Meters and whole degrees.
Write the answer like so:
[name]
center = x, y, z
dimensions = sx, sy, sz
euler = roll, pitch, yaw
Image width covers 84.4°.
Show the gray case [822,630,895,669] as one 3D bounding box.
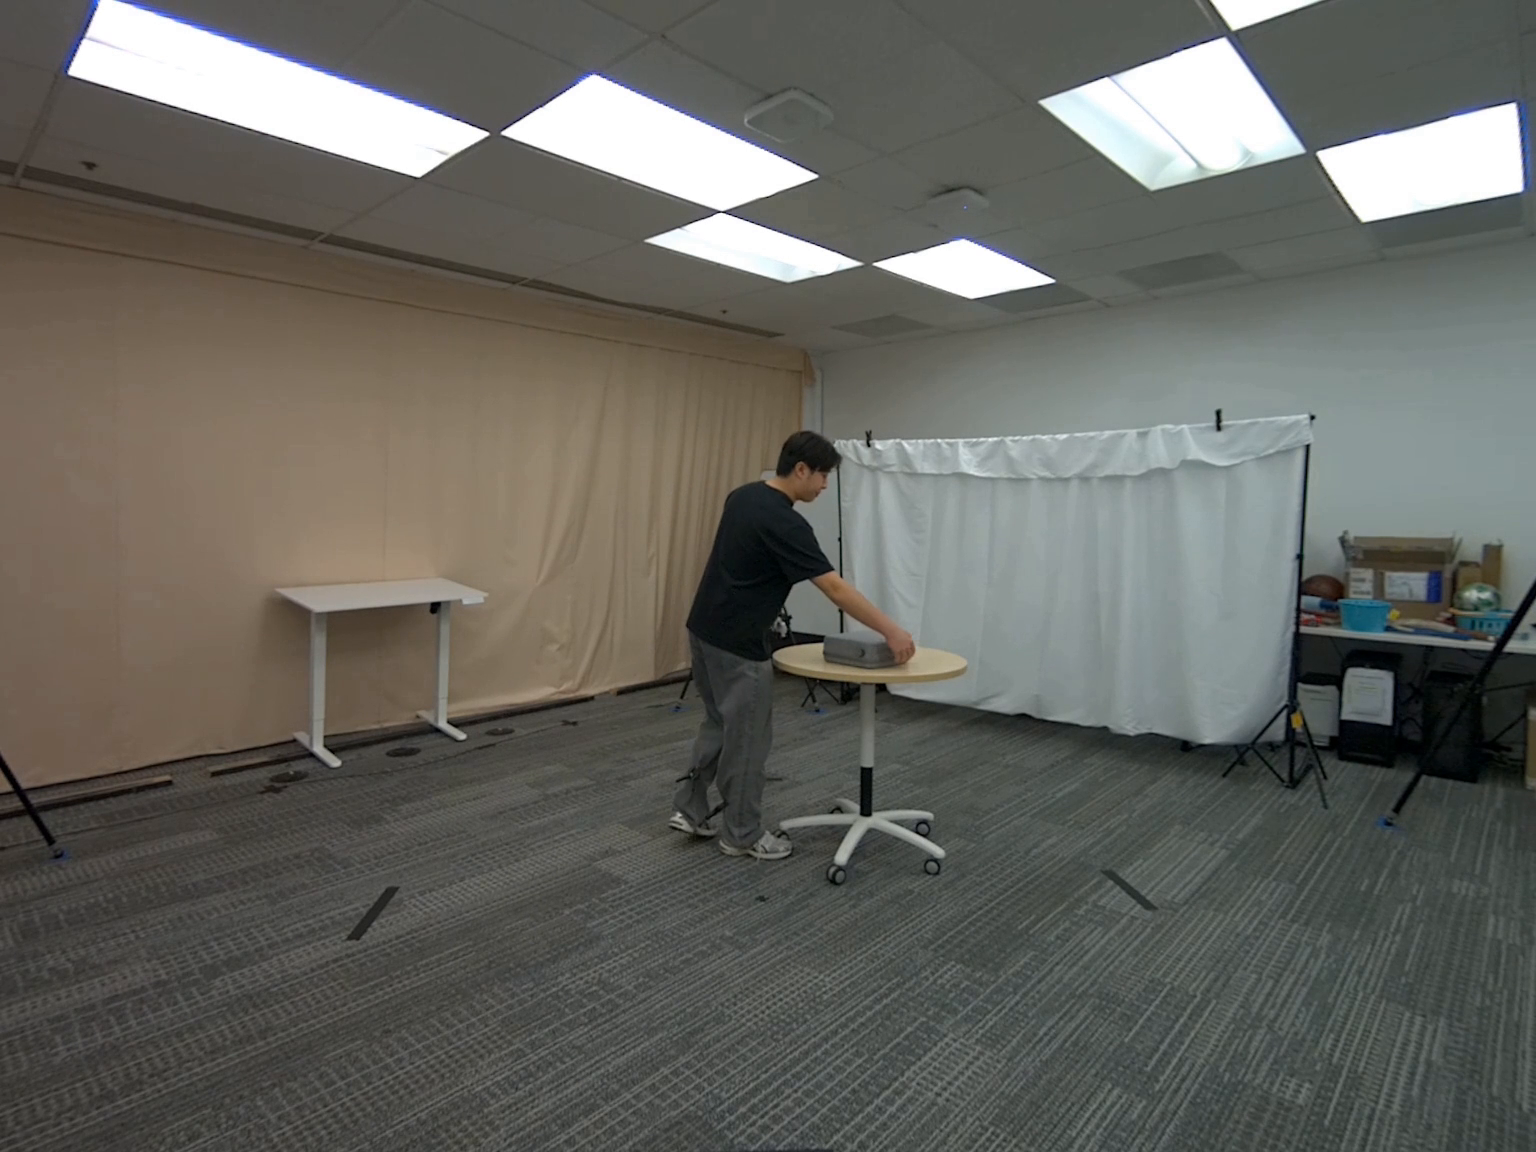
[gray case]
center = 0.392, 0.281, 3.253
dimensions = 0.255, 0.103, 0.296
euler = -4, 5, -38
